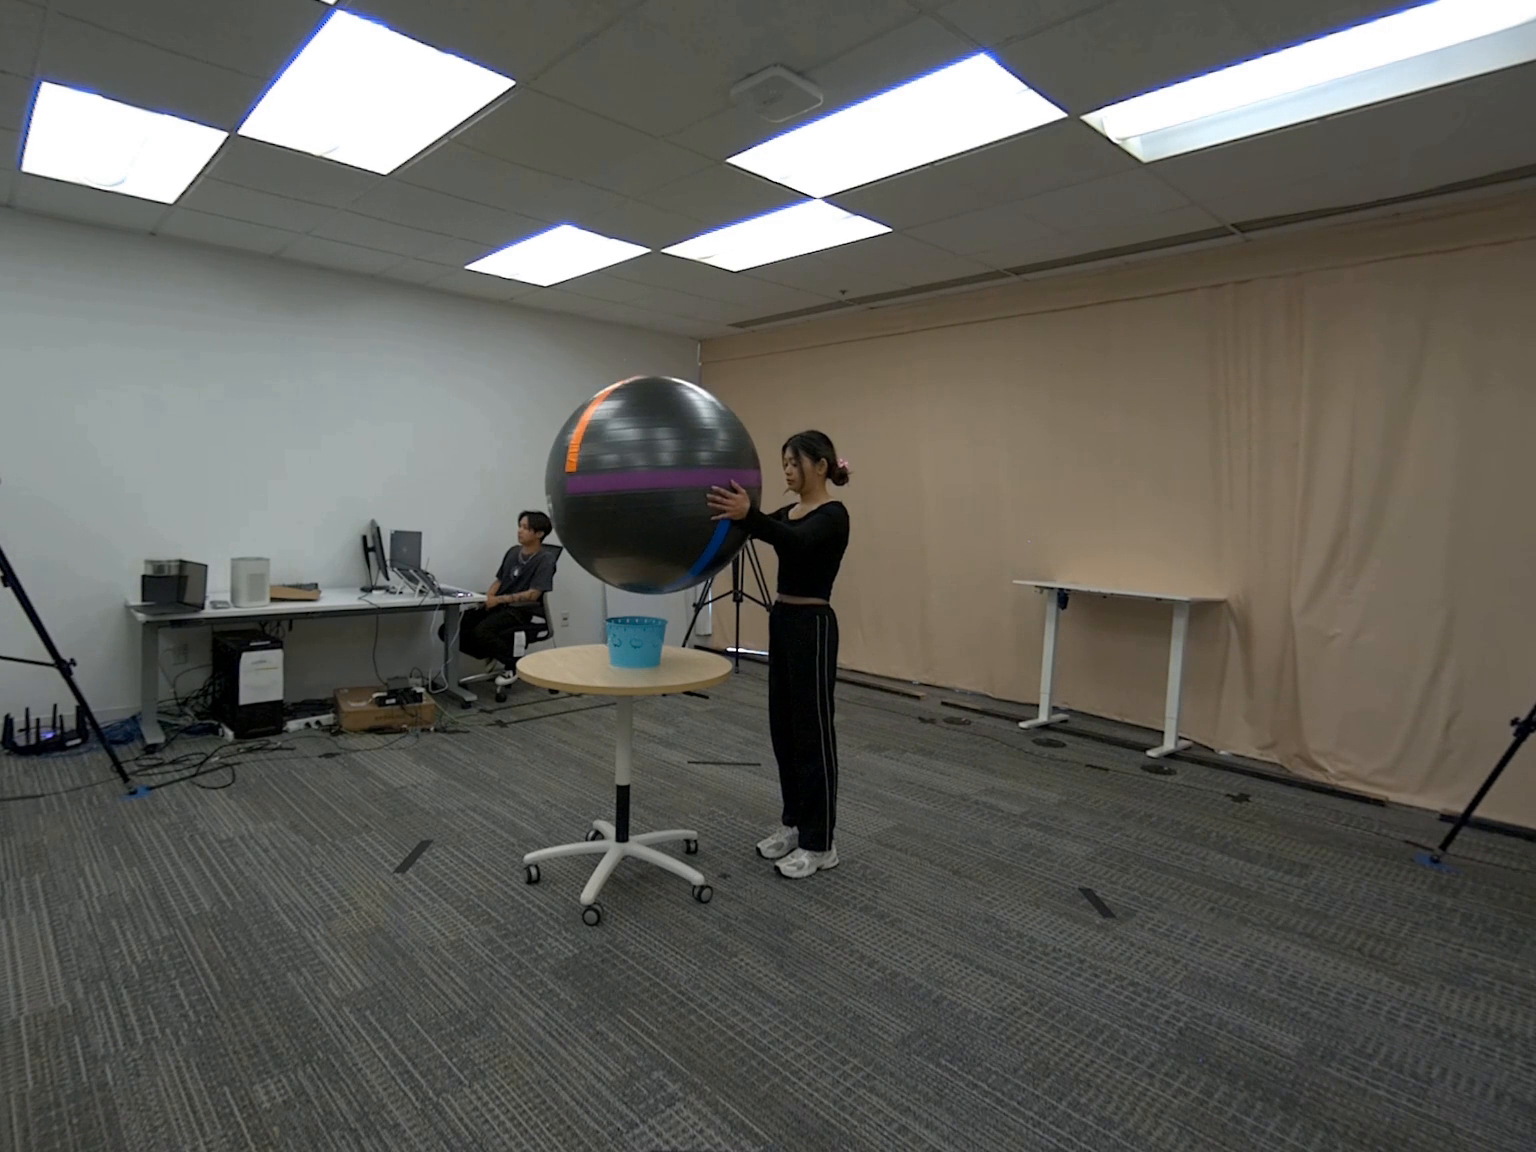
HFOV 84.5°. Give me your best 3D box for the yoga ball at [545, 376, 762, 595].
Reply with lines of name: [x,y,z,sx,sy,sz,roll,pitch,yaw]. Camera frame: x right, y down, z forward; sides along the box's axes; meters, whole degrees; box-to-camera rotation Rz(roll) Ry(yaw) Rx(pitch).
yoga ball: [-0.415,-0.309,2.961,0.757,0.756,0.761,1,4,-1]
